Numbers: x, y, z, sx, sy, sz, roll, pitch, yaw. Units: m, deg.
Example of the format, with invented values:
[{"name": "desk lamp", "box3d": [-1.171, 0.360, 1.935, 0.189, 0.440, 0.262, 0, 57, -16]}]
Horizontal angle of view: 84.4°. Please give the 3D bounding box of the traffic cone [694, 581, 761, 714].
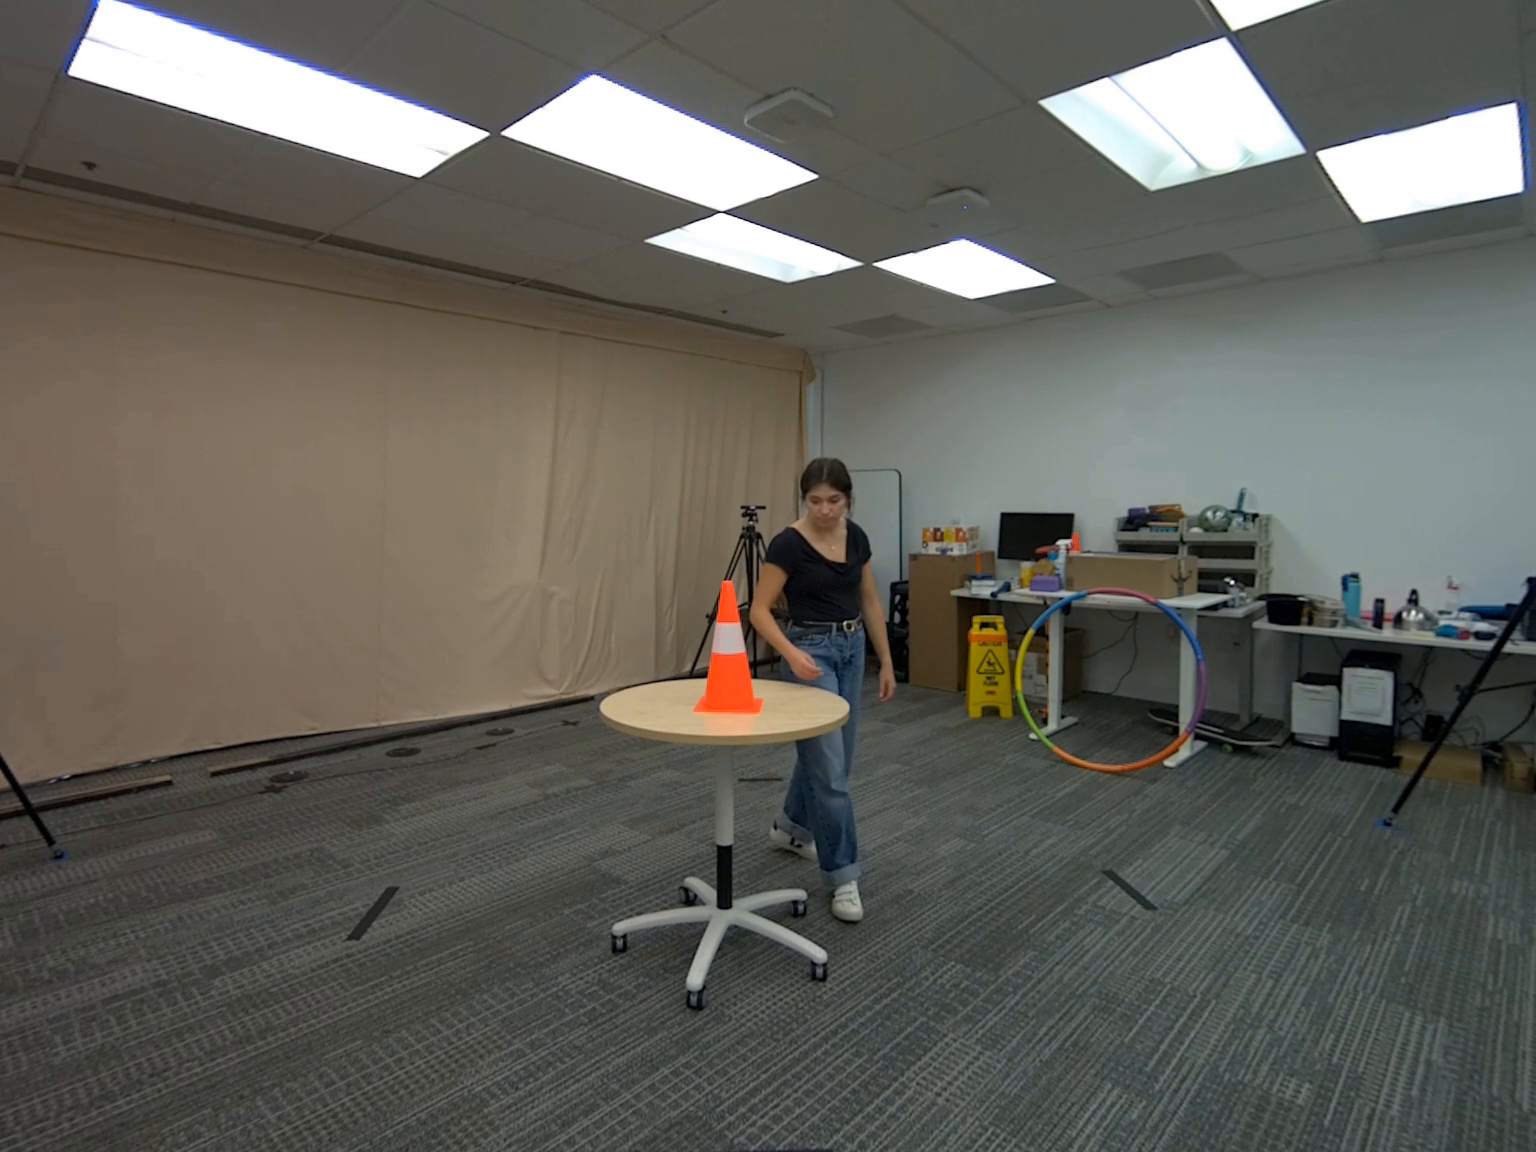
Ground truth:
[{"name": "traffic cone", "box3d": [-0.115, 0.212, 2.562, 0.206, 0.383, 0.202, 0, 3, 5]}]
